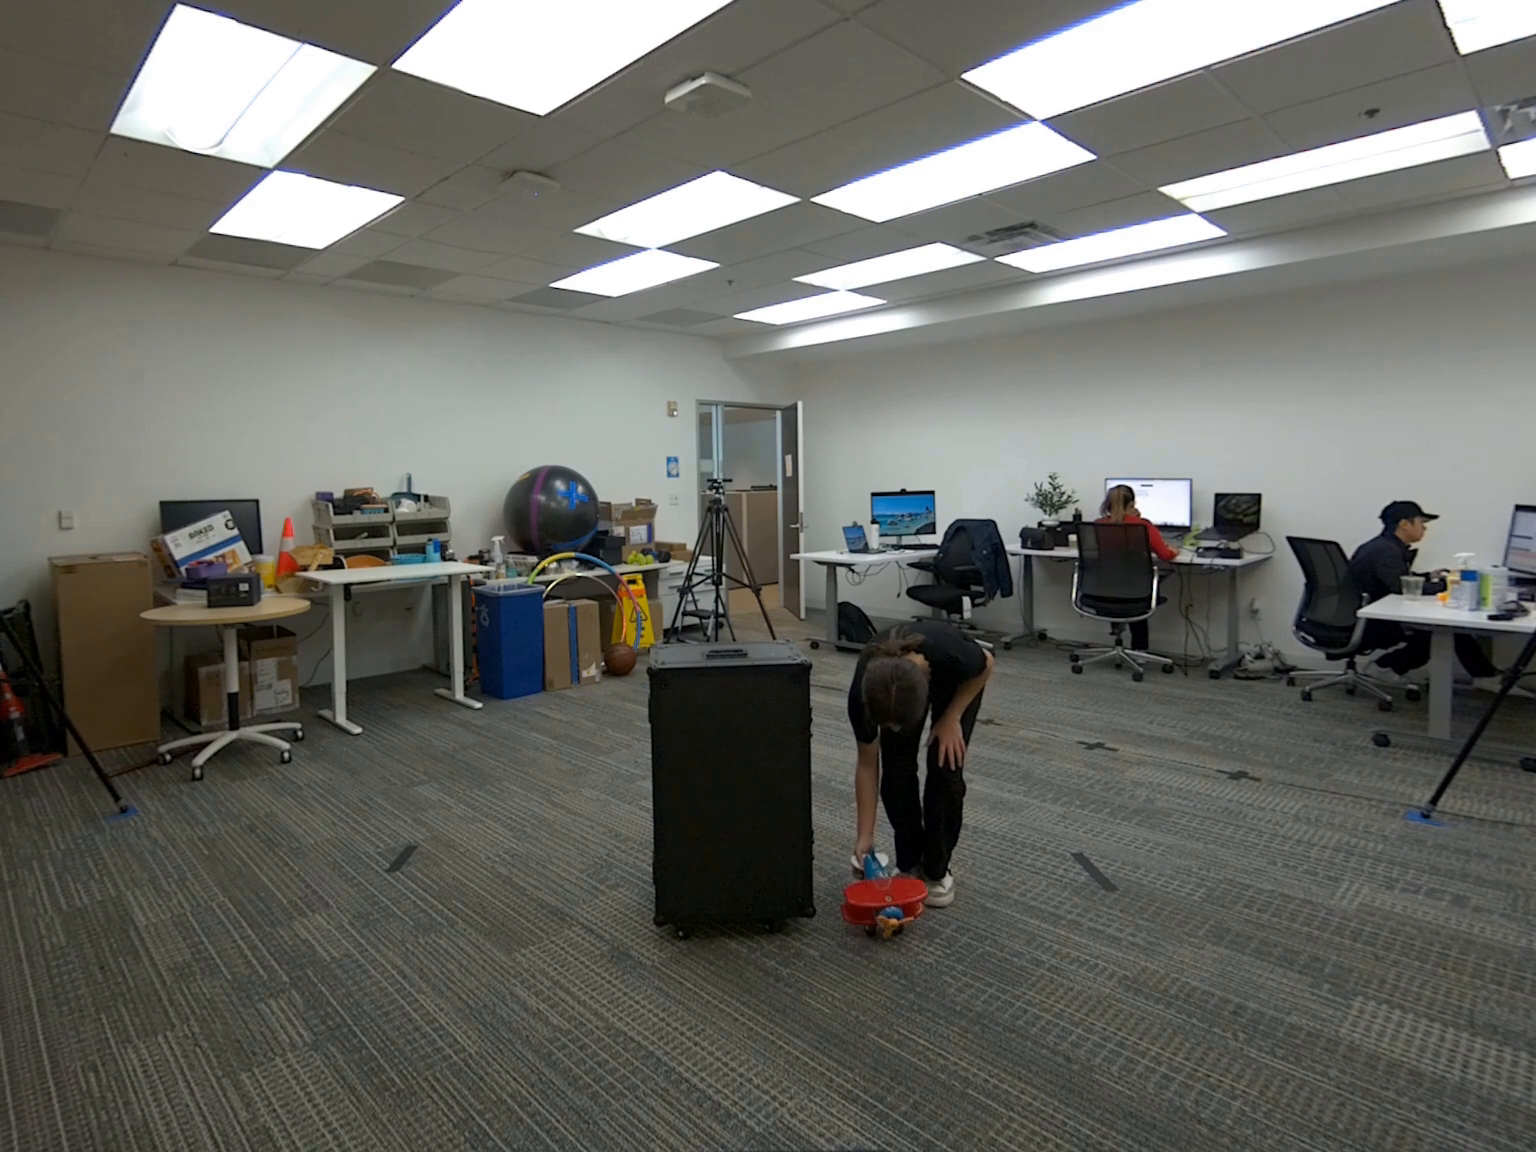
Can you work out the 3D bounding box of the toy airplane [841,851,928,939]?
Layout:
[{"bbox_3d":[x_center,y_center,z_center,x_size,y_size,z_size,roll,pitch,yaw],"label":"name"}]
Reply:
[{"bbox_3d":[0.327,0.969,2.628,0.248,0.153,0.269,-24,52,-28],"label":"toy airplane"}]
